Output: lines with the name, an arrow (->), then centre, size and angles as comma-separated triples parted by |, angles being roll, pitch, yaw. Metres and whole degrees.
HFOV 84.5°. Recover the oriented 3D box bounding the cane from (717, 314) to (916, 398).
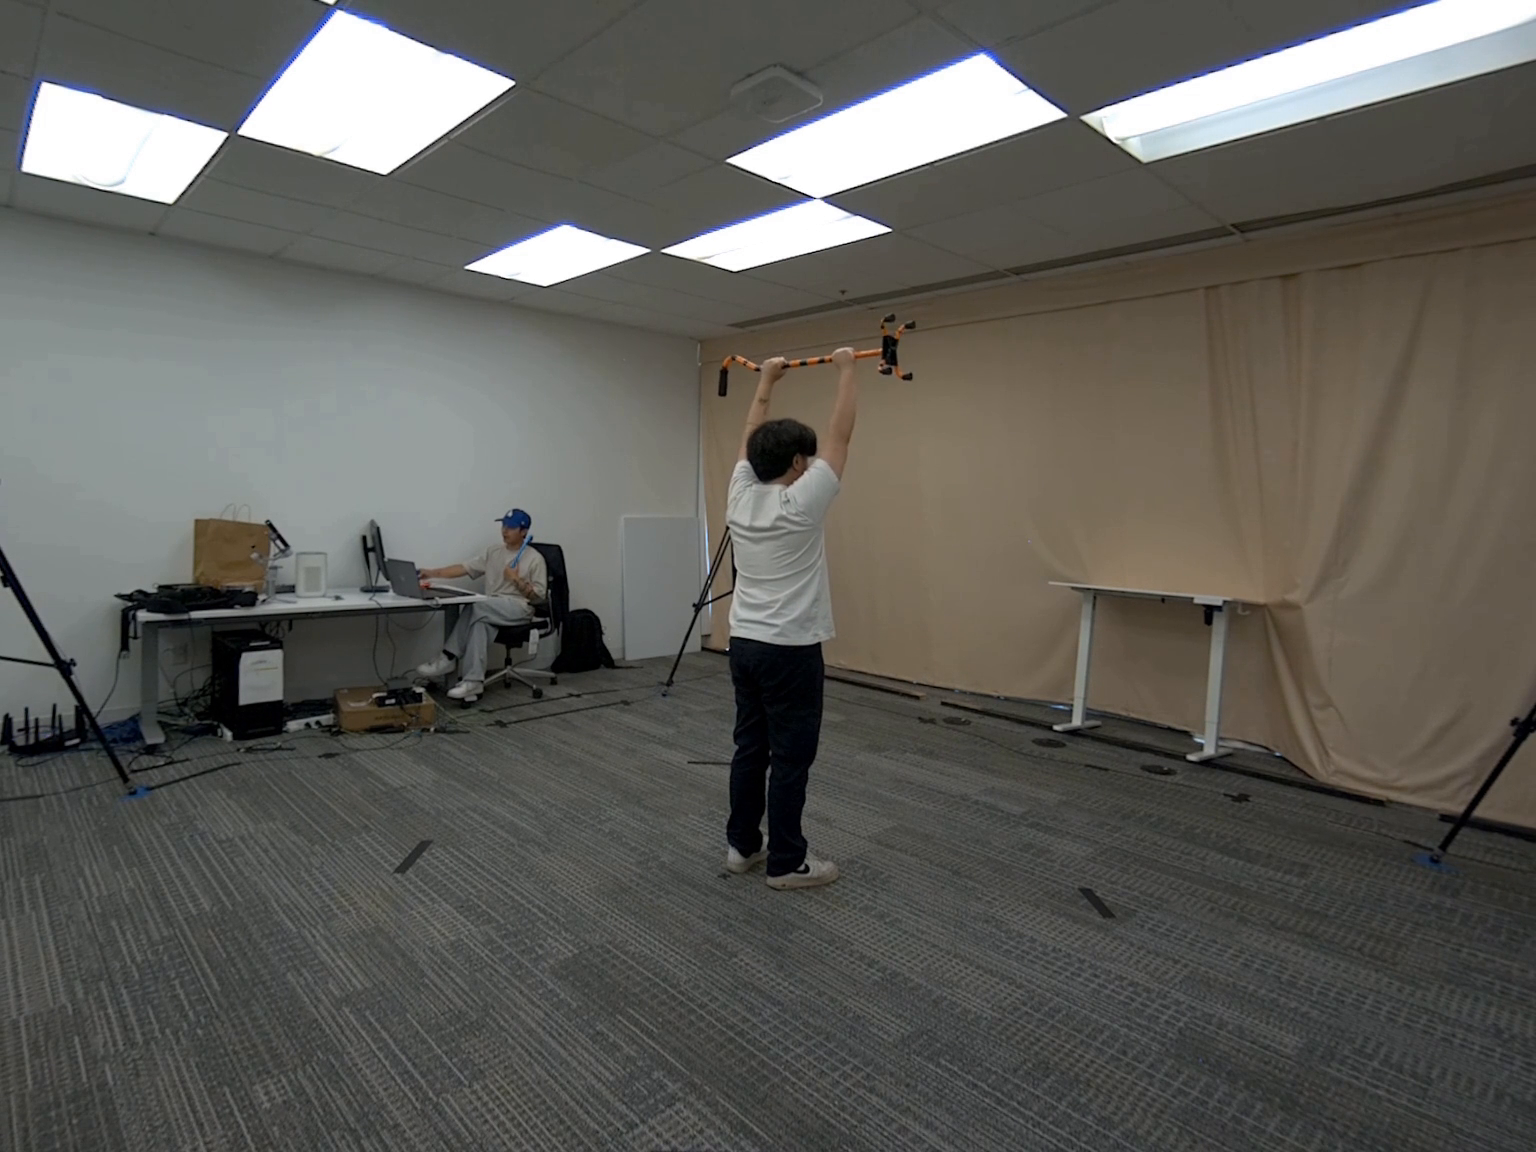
cane -> 0.129, -0.812, 3.193 | 0.931, 0.206, 0.148 | 6, 3, 45
